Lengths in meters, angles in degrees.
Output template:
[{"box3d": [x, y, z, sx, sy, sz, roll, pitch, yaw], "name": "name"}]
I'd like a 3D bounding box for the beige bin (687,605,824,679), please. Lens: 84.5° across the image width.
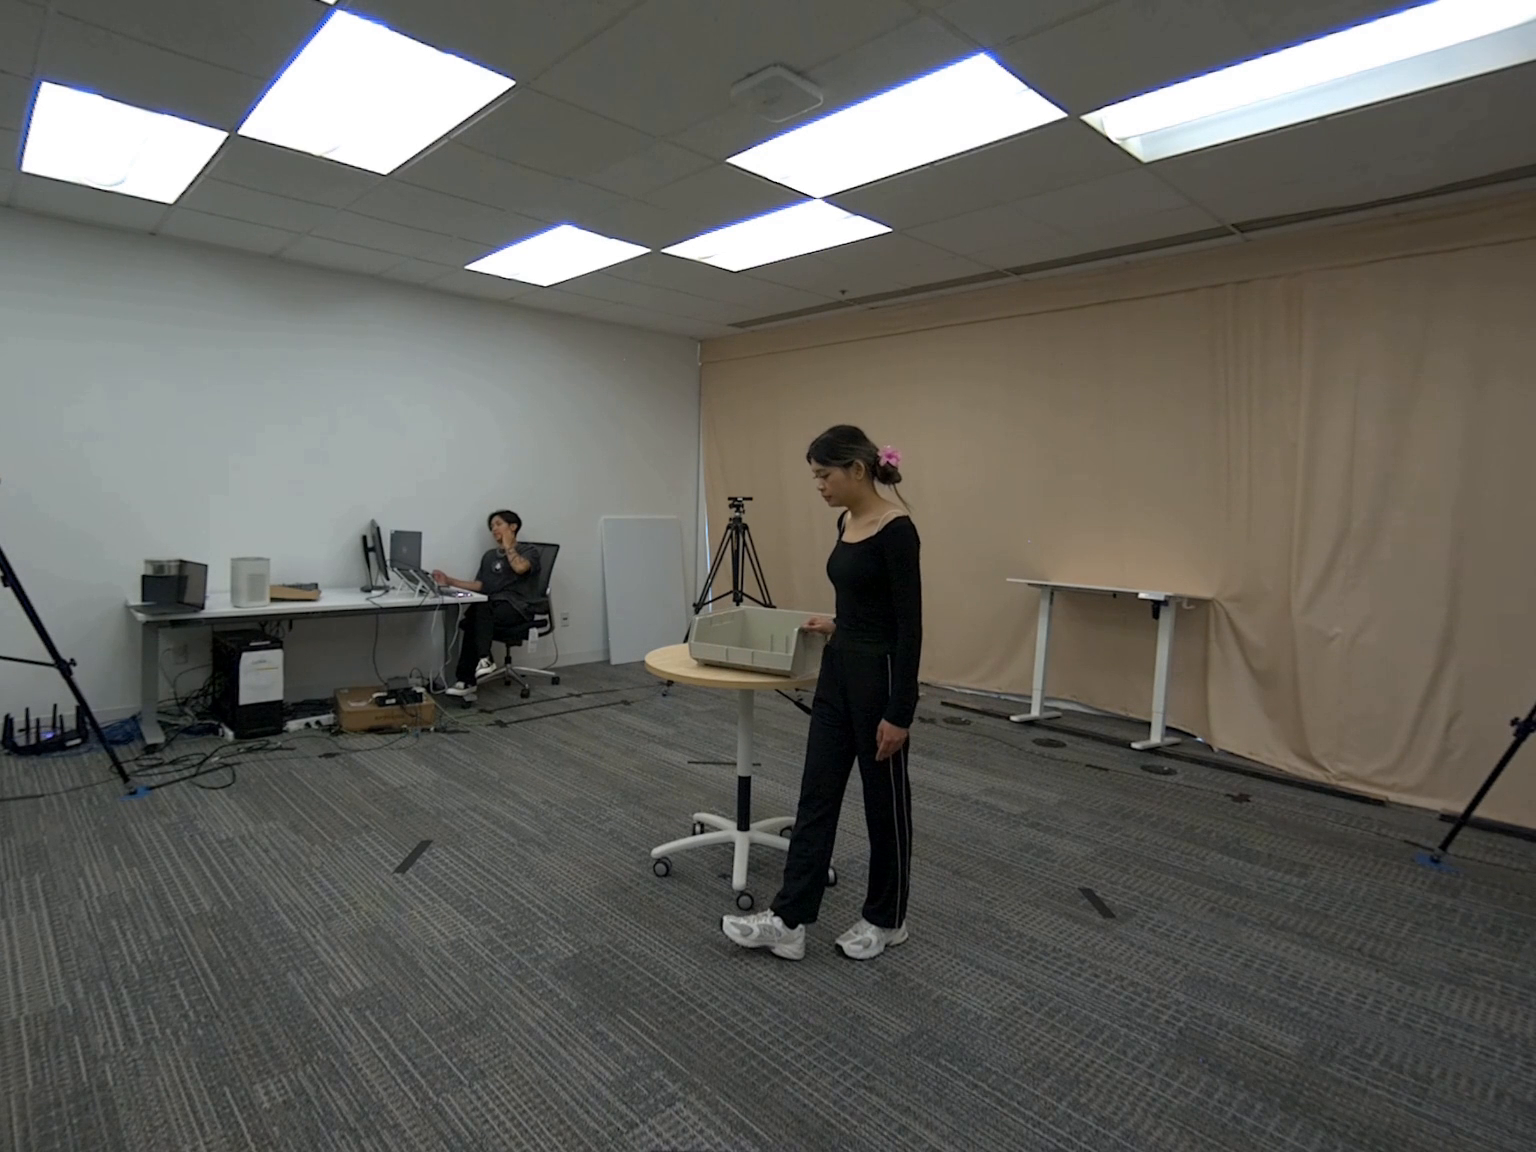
[{"box3d": [-0.016, 0.233, 3.033, 0.431, 0.188, 0.370, 3, 4, 29], "name": "beige bin"}]
